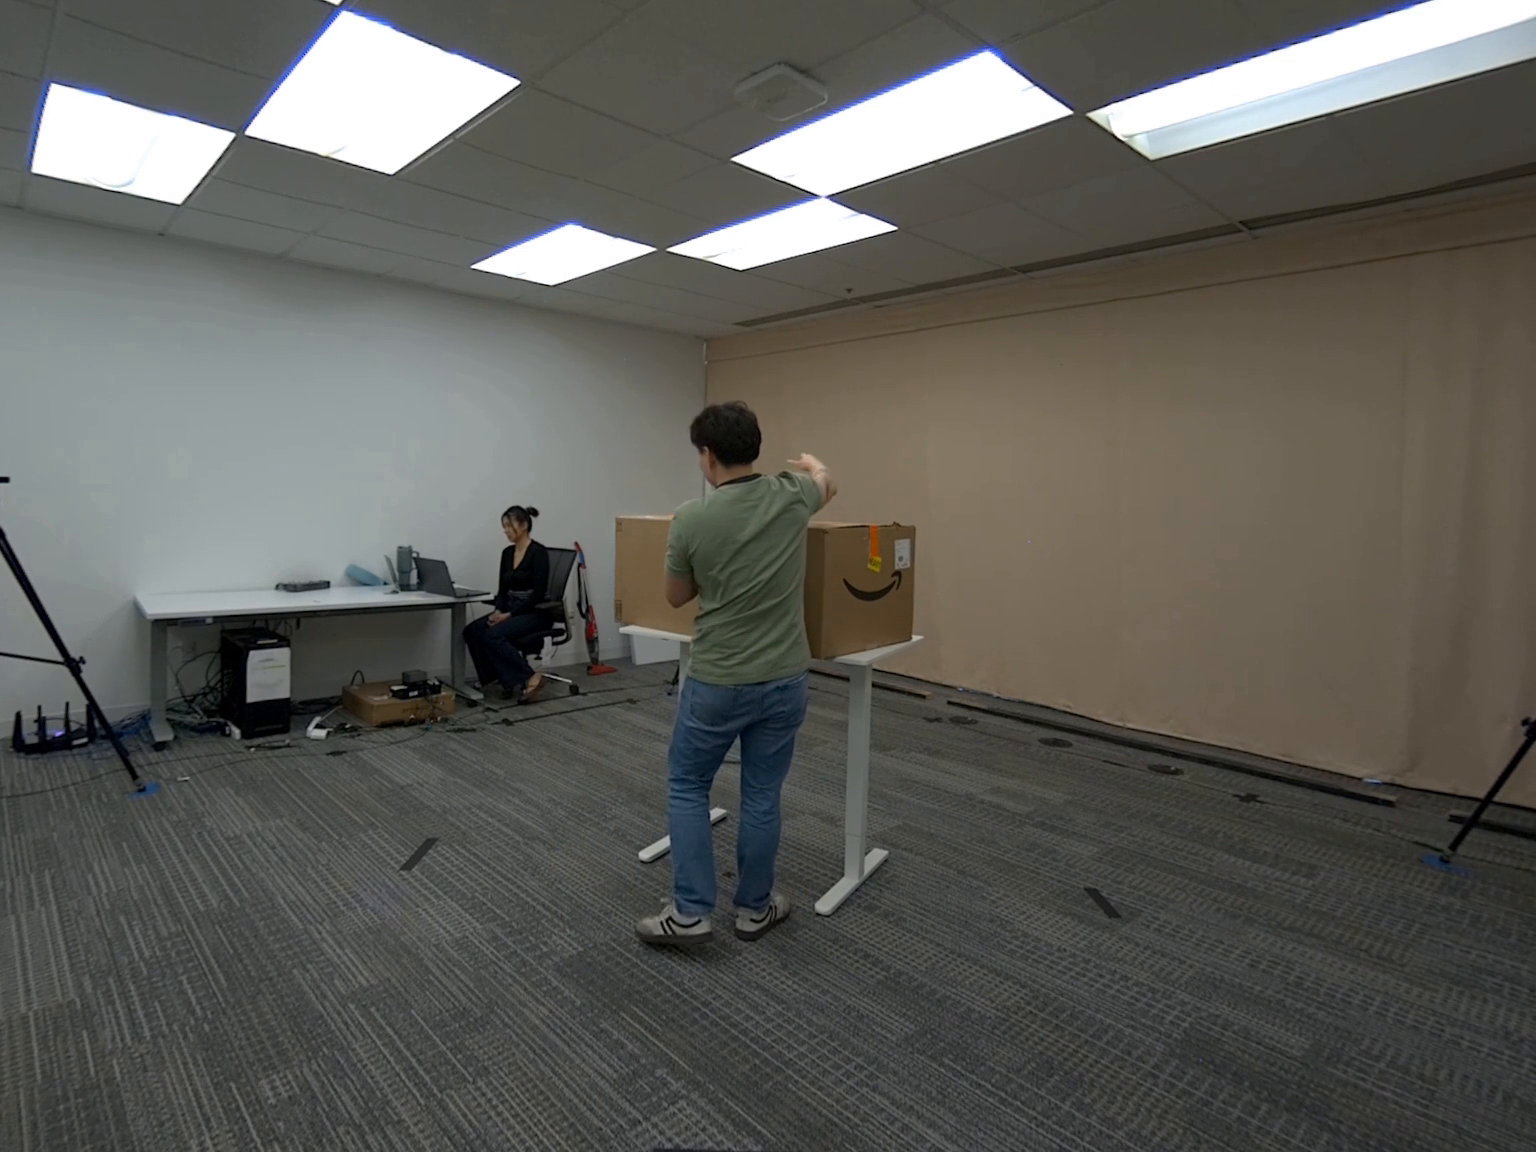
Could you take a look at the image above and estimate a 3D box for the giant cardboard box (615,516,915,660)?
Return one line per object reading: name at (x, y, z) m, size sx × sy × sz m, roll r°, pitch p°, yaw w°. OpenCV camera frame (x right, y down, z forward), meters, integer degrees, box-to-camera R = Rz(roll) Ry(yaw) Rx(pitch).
giant cardboard box at (-0.039, 0.000, 3.221) m, size 1.052 × 0.425 × 0.565 m, roll 6°, pitch 7°, yaw 40°
